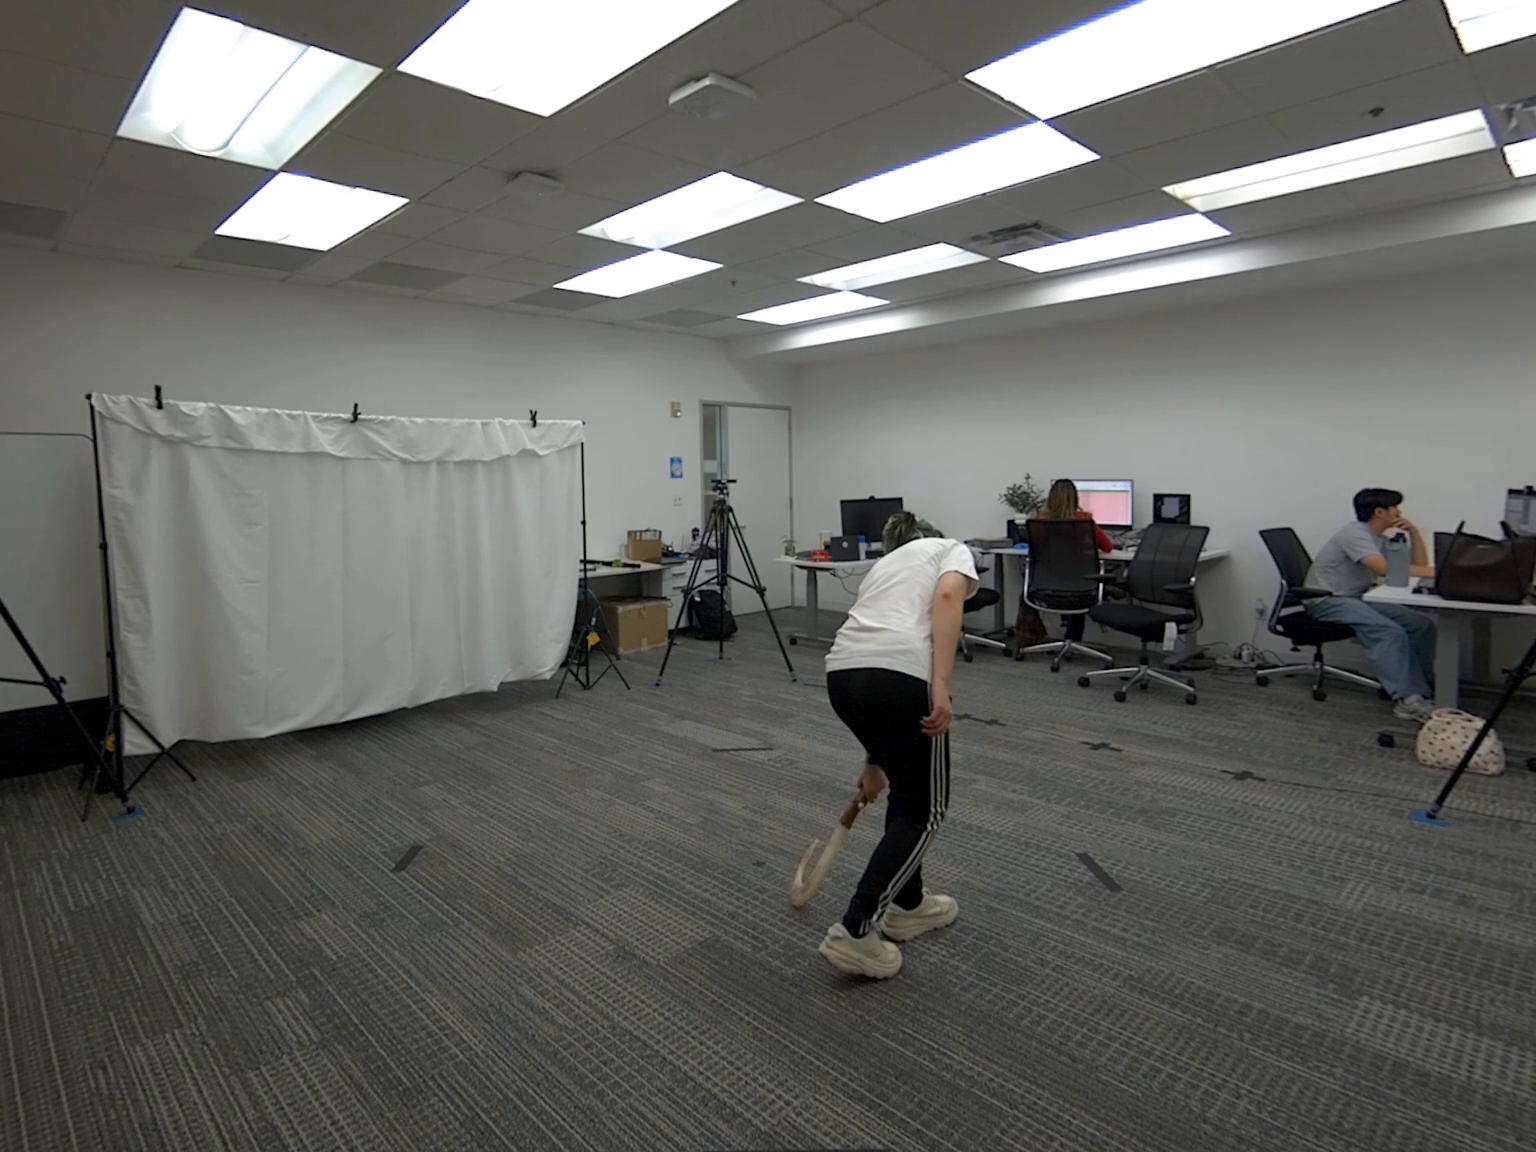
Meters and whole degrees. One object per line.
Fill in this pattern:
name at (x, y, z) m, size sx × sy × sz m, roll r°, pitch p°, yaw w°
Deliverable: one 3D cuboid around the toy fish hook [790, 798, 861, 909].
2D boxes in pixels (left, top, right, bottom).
toy fish hook at (0.216, 0.861, 2.828) m, size 0.047 × 0.506 × 0.227 m, roll 33°, pitch 0°, yaw -12°
